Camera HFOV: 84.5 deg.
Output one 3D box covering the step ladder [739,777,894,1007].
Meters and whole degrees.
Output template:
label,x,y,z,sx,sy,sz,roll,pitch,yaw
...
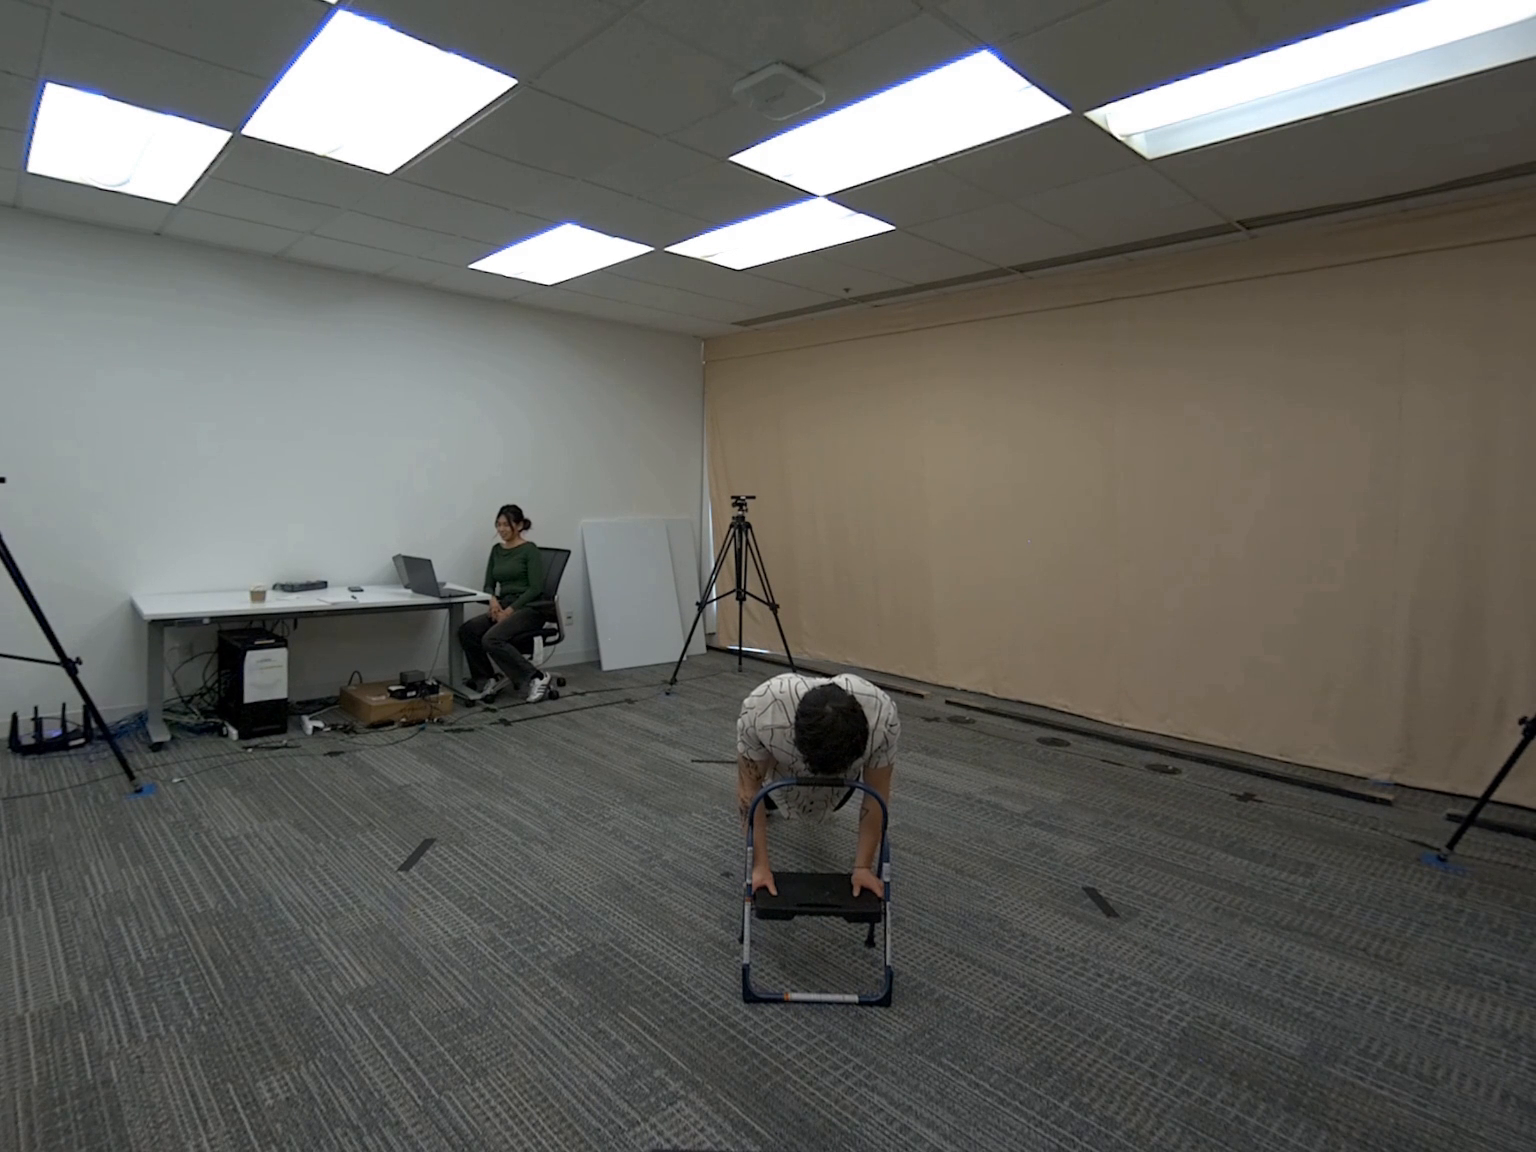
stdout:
label,x,y,z,sx,sy,sz,roll,pitch,yaw
step ladder,0.130,0.870,2.465,0.430,0.605,0.350,1,3,-2
